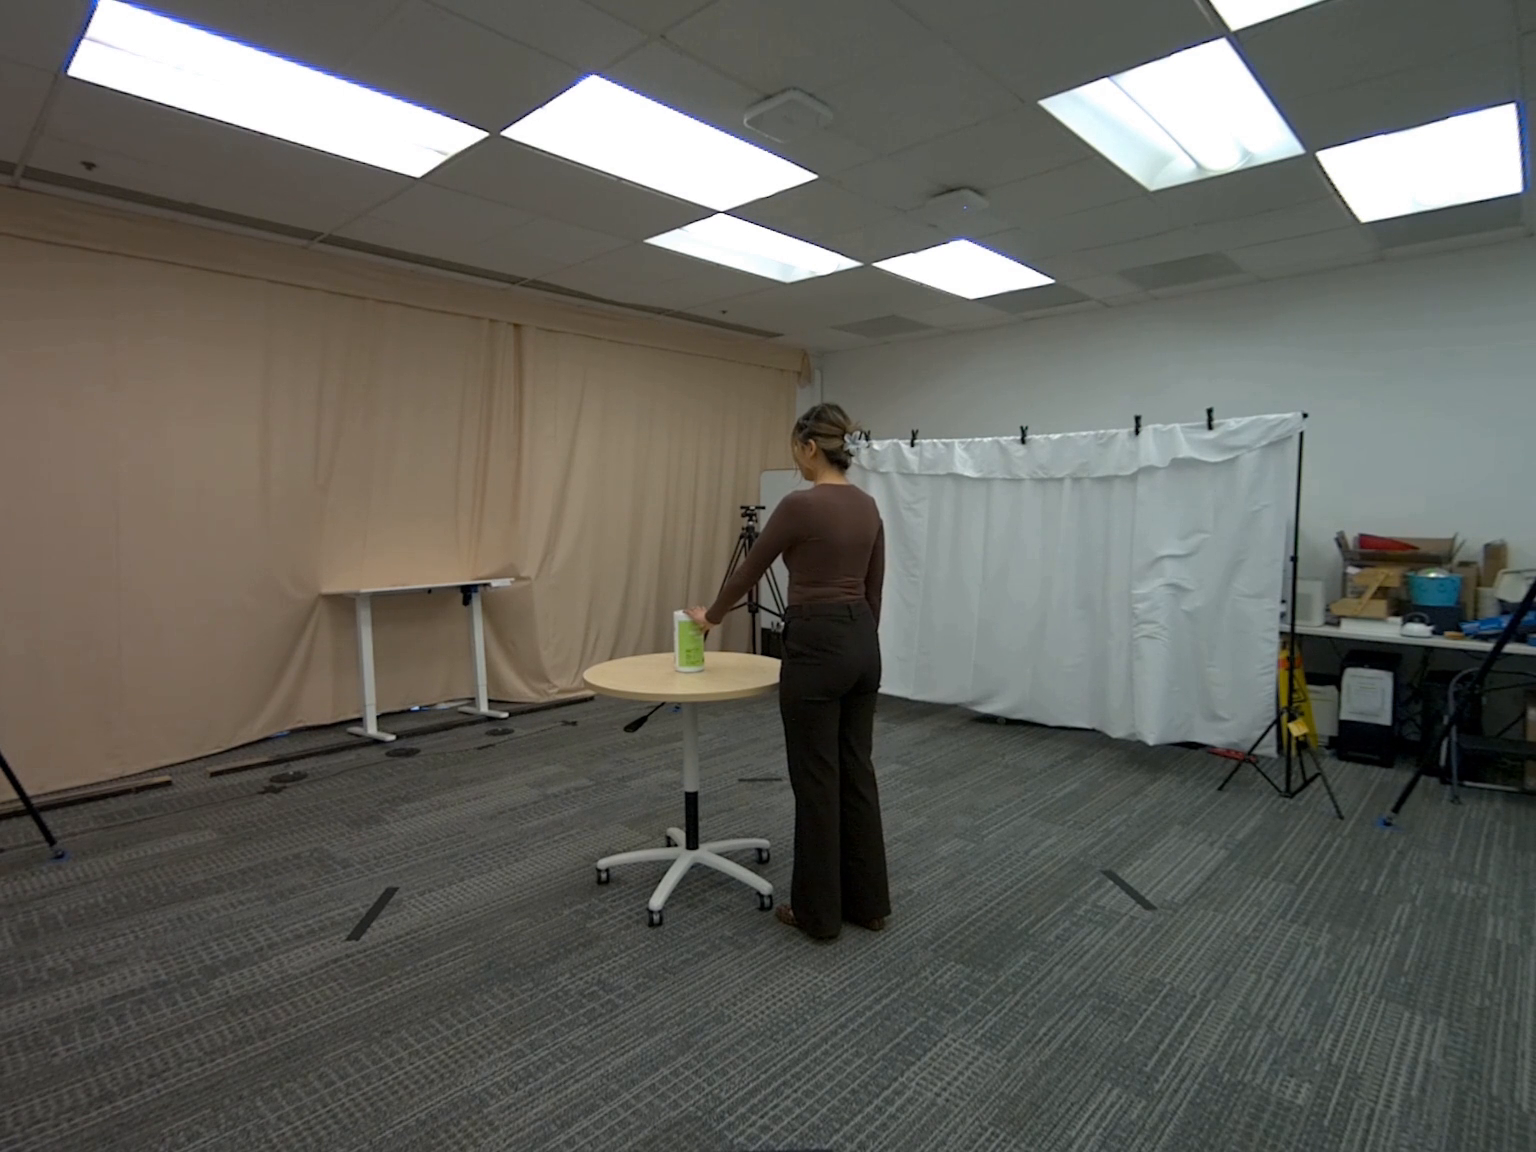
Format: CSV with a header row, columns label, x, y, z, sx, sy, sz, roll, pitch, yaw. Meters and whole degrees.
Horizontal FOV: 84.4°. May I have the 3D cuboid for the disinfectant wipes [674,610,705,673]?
label,x,y,z,sx,sy,sz,roll,pitch,yaw
disinfectant wipes,-0.285,0.237,3.054,0.118,0.217,0.118,1,4,-2
